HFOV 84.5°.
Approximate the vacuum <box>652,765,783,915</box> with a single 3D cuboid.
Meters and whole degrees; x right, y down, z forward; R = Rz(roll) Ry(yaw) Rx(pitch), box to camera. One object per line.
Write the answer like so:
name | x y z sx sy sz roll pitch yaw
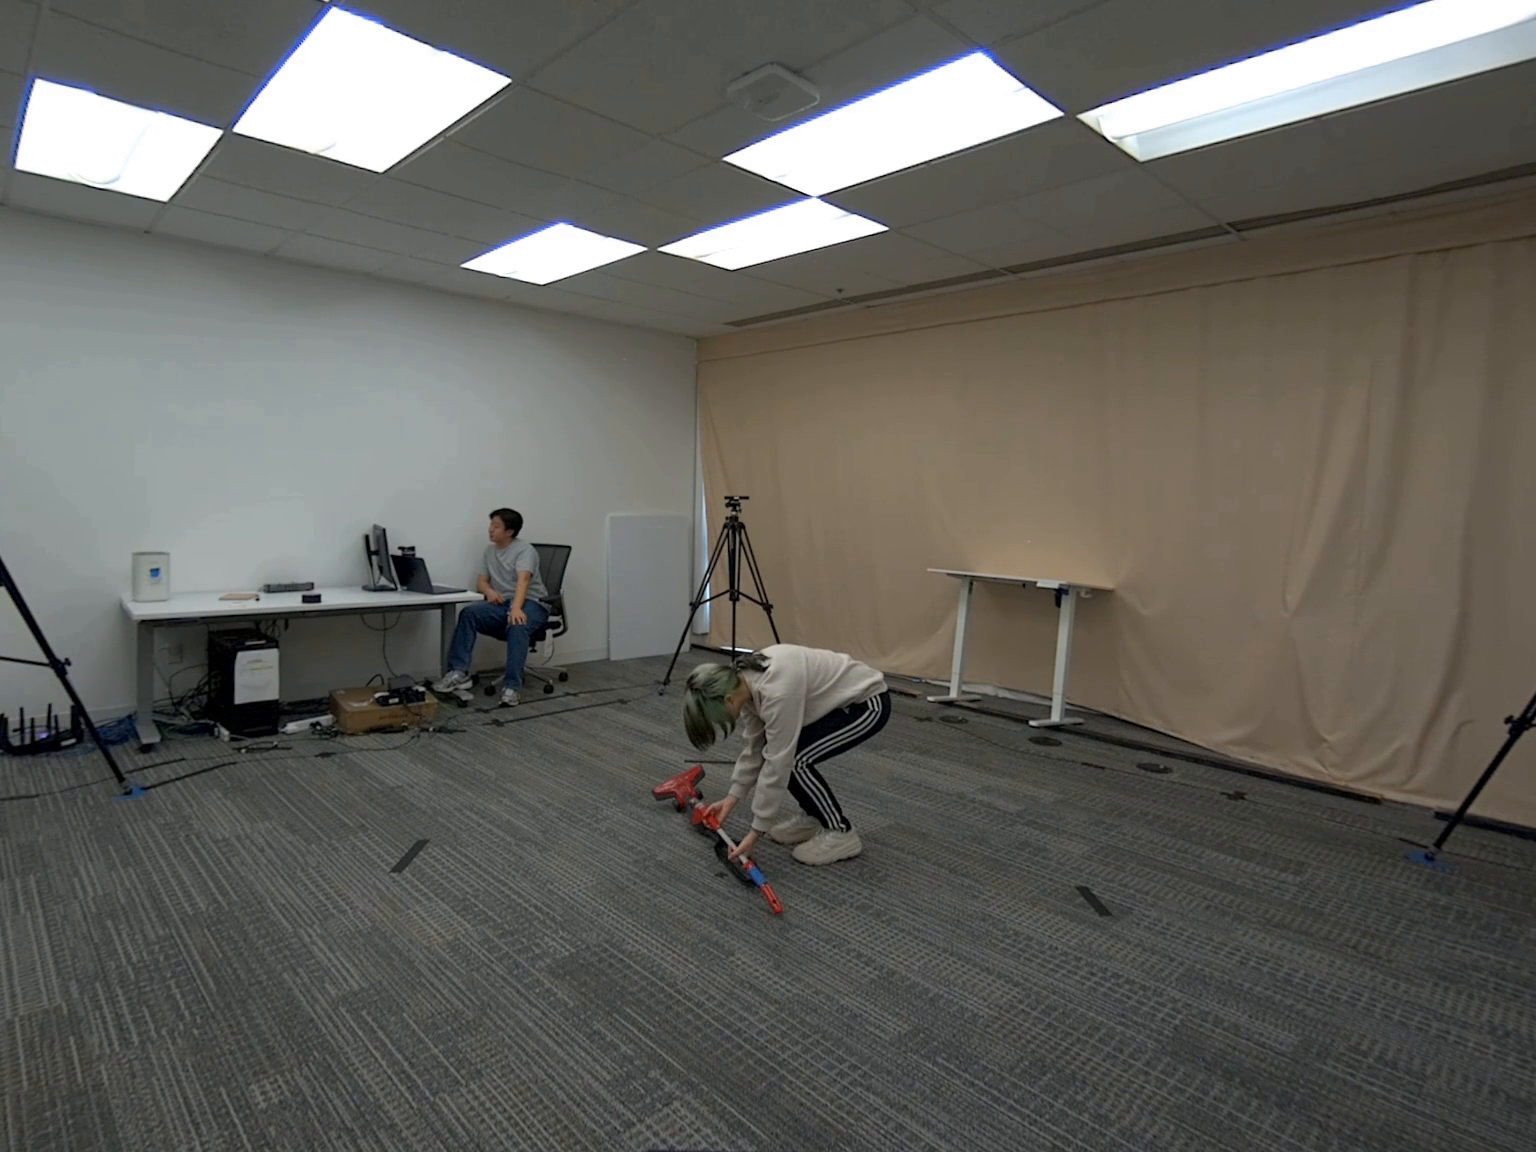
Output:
vacuum | -0.179 1.019 3.288 0.250 0.142 1.071 -24 16 -18
